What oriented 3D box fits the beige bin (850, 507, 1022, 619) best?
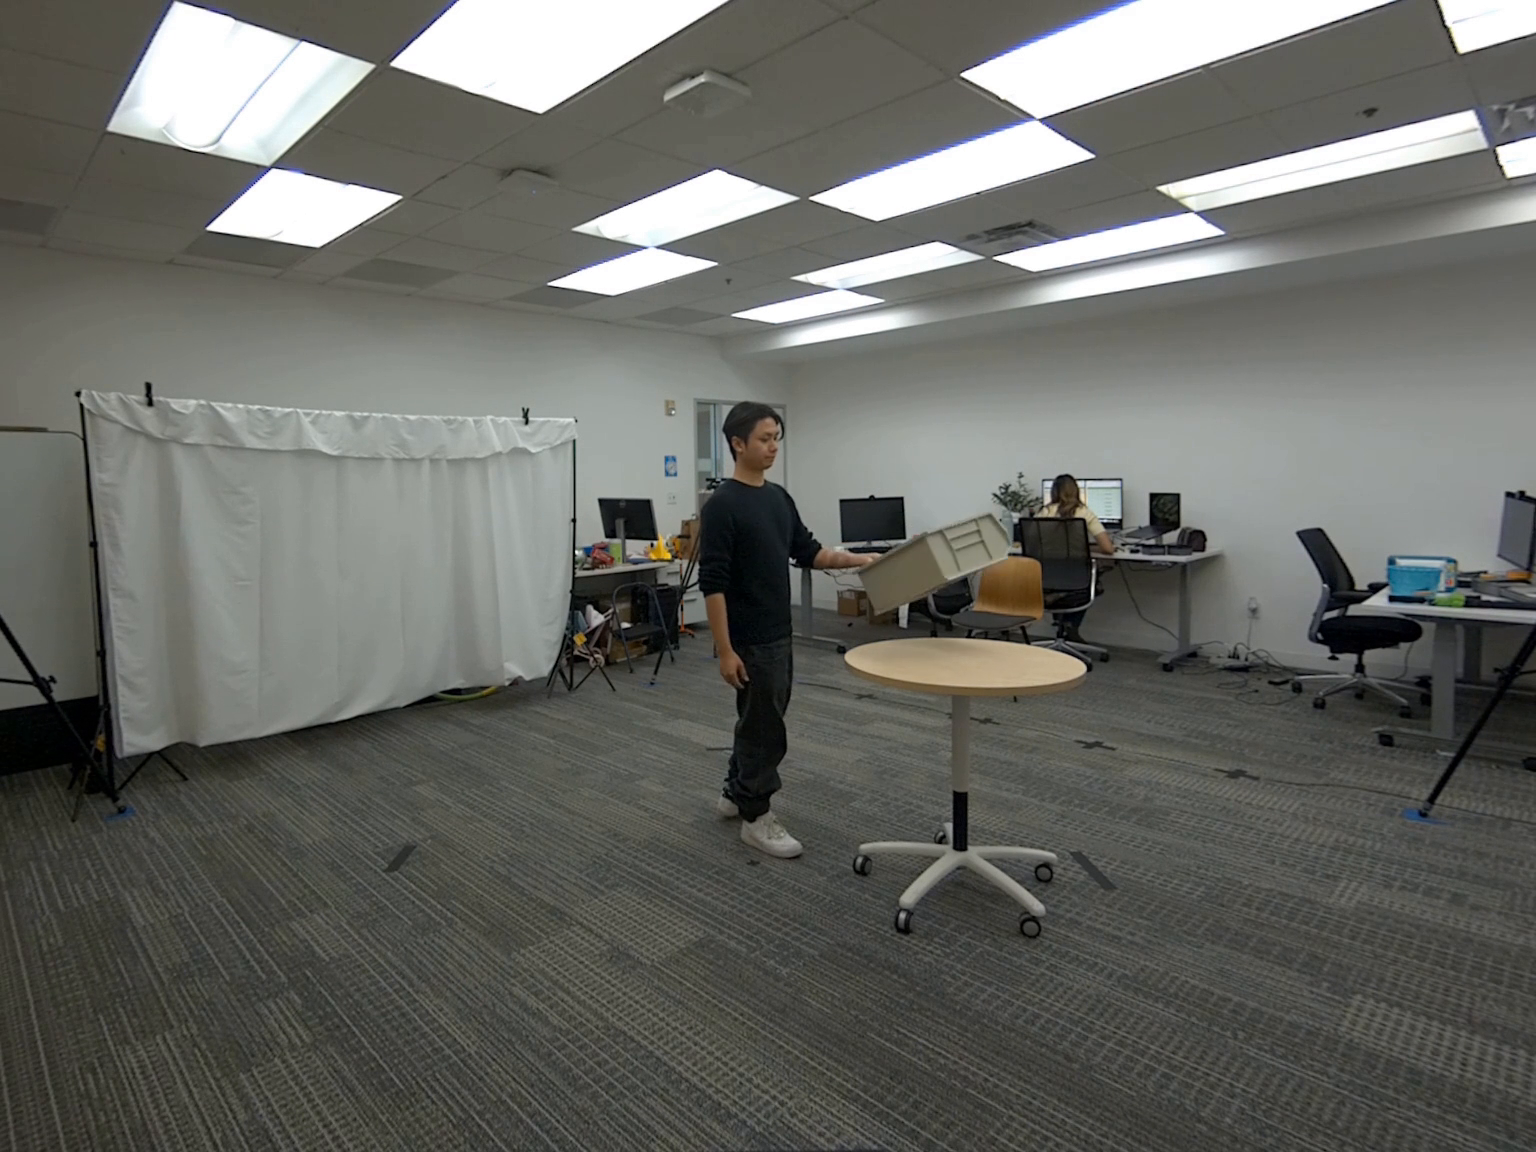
[{"bbox_3d":[0.592,-0.045,3.066,0.370,0.191,0.425,-17,-9,-34],"label":"beige bin"}]
